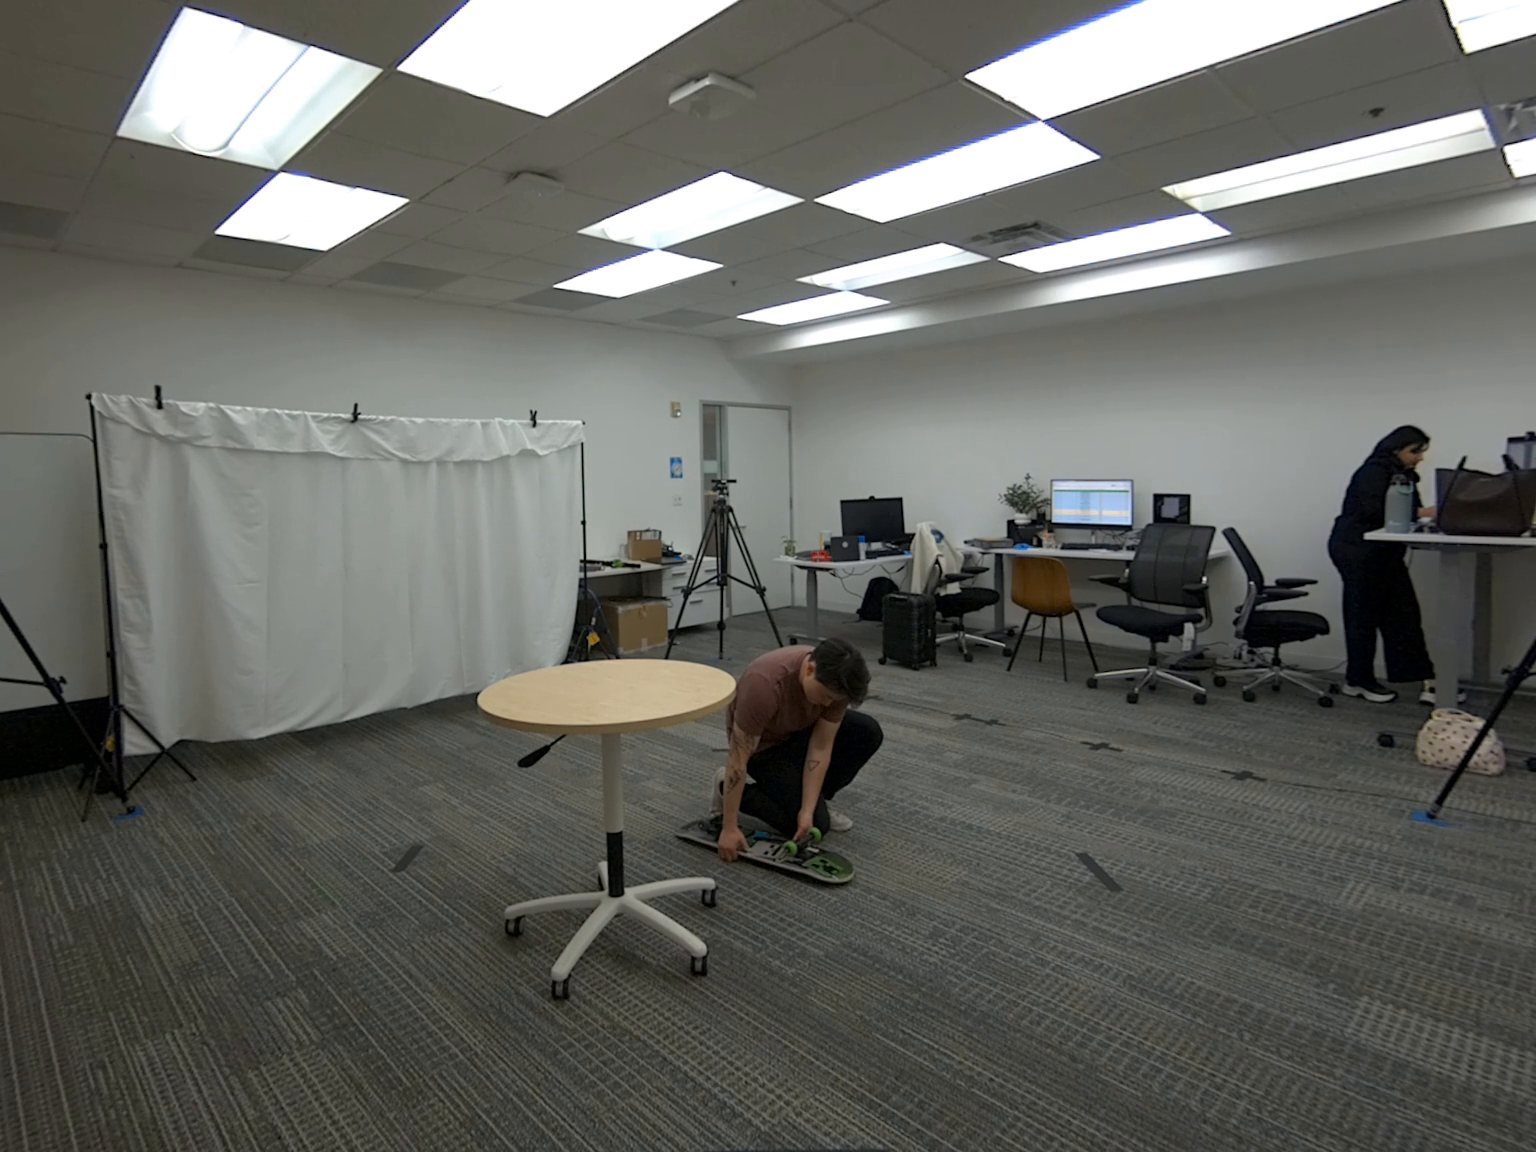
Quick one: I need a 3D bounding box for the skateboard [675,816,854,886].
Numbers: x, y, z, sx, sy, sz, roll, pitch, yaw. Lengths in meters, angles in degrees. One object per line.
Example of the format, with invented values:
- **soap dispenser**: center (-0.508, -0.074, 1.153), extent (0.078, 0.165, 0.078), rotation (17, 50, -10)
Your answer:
- **skateboard**: center (-0.037, 0.975, 3.179), extent (0.808, 0.110, 0.189), rotation (3, 8, 37)
